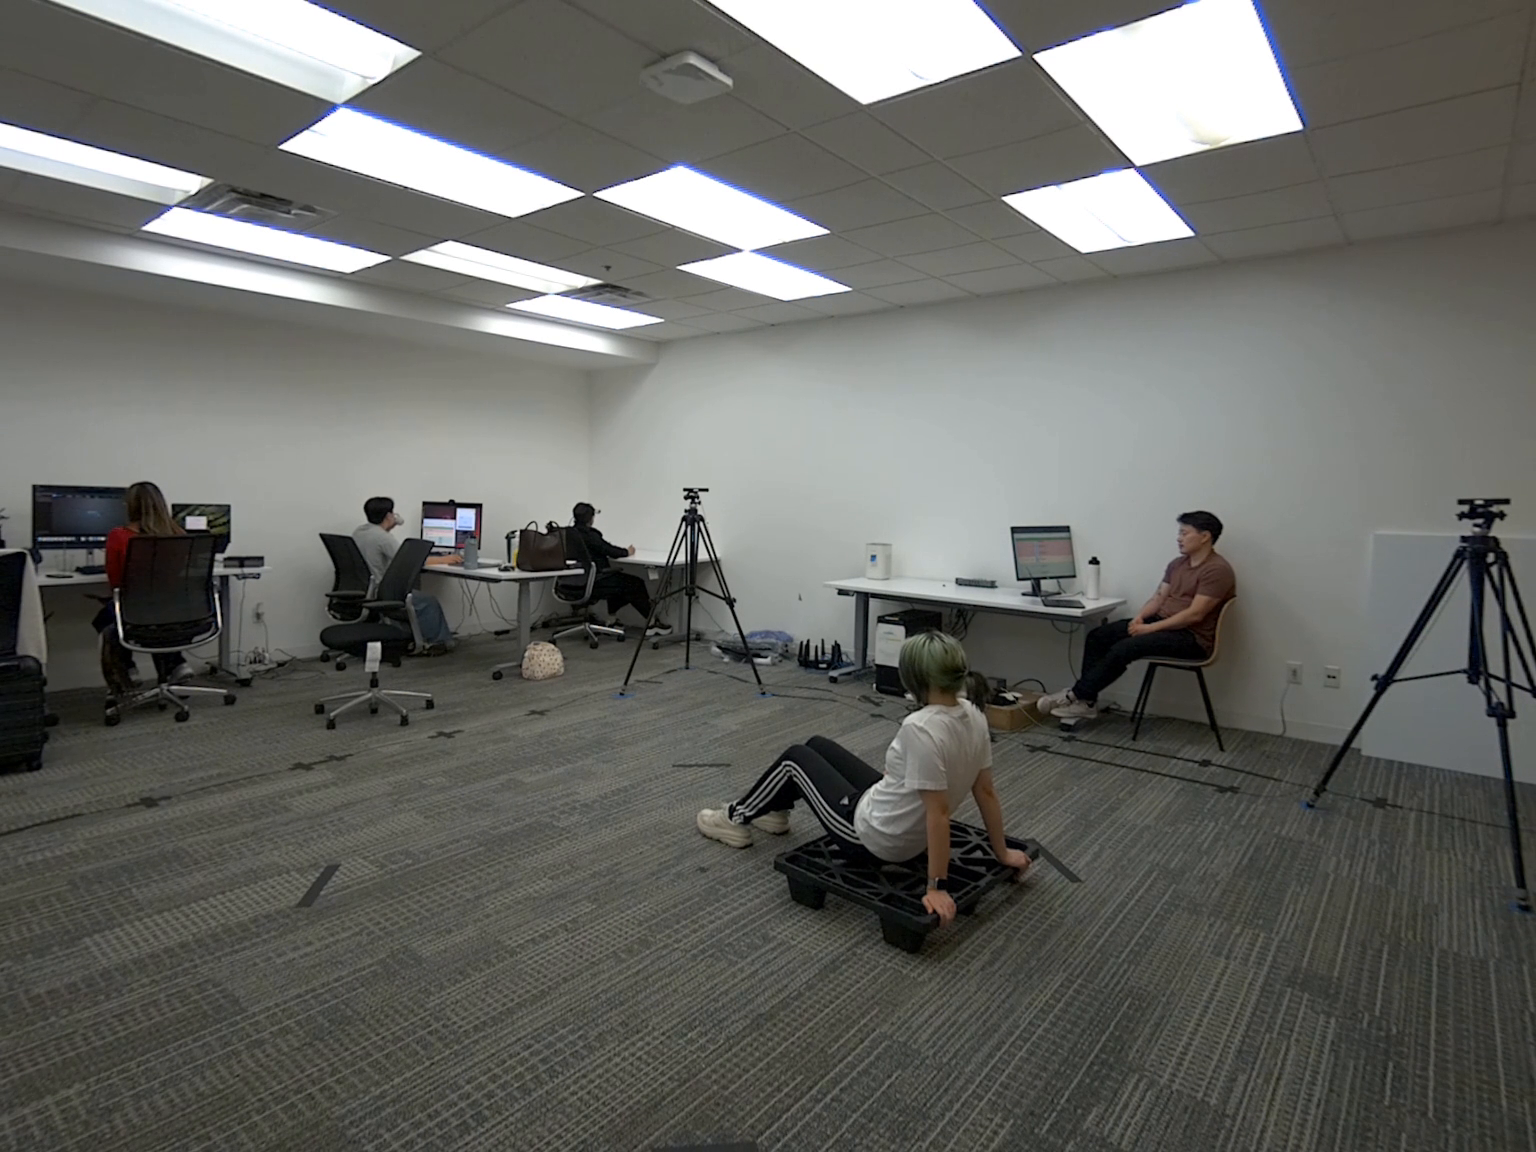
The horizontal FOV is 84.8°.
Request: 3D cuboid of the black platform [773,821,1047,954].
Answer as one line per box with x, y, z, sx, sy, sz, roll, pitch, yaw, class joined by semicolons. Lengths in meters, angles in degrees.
0.487;1.030;2.982;0.626;0.143;0.781;6;7;43;black platform
